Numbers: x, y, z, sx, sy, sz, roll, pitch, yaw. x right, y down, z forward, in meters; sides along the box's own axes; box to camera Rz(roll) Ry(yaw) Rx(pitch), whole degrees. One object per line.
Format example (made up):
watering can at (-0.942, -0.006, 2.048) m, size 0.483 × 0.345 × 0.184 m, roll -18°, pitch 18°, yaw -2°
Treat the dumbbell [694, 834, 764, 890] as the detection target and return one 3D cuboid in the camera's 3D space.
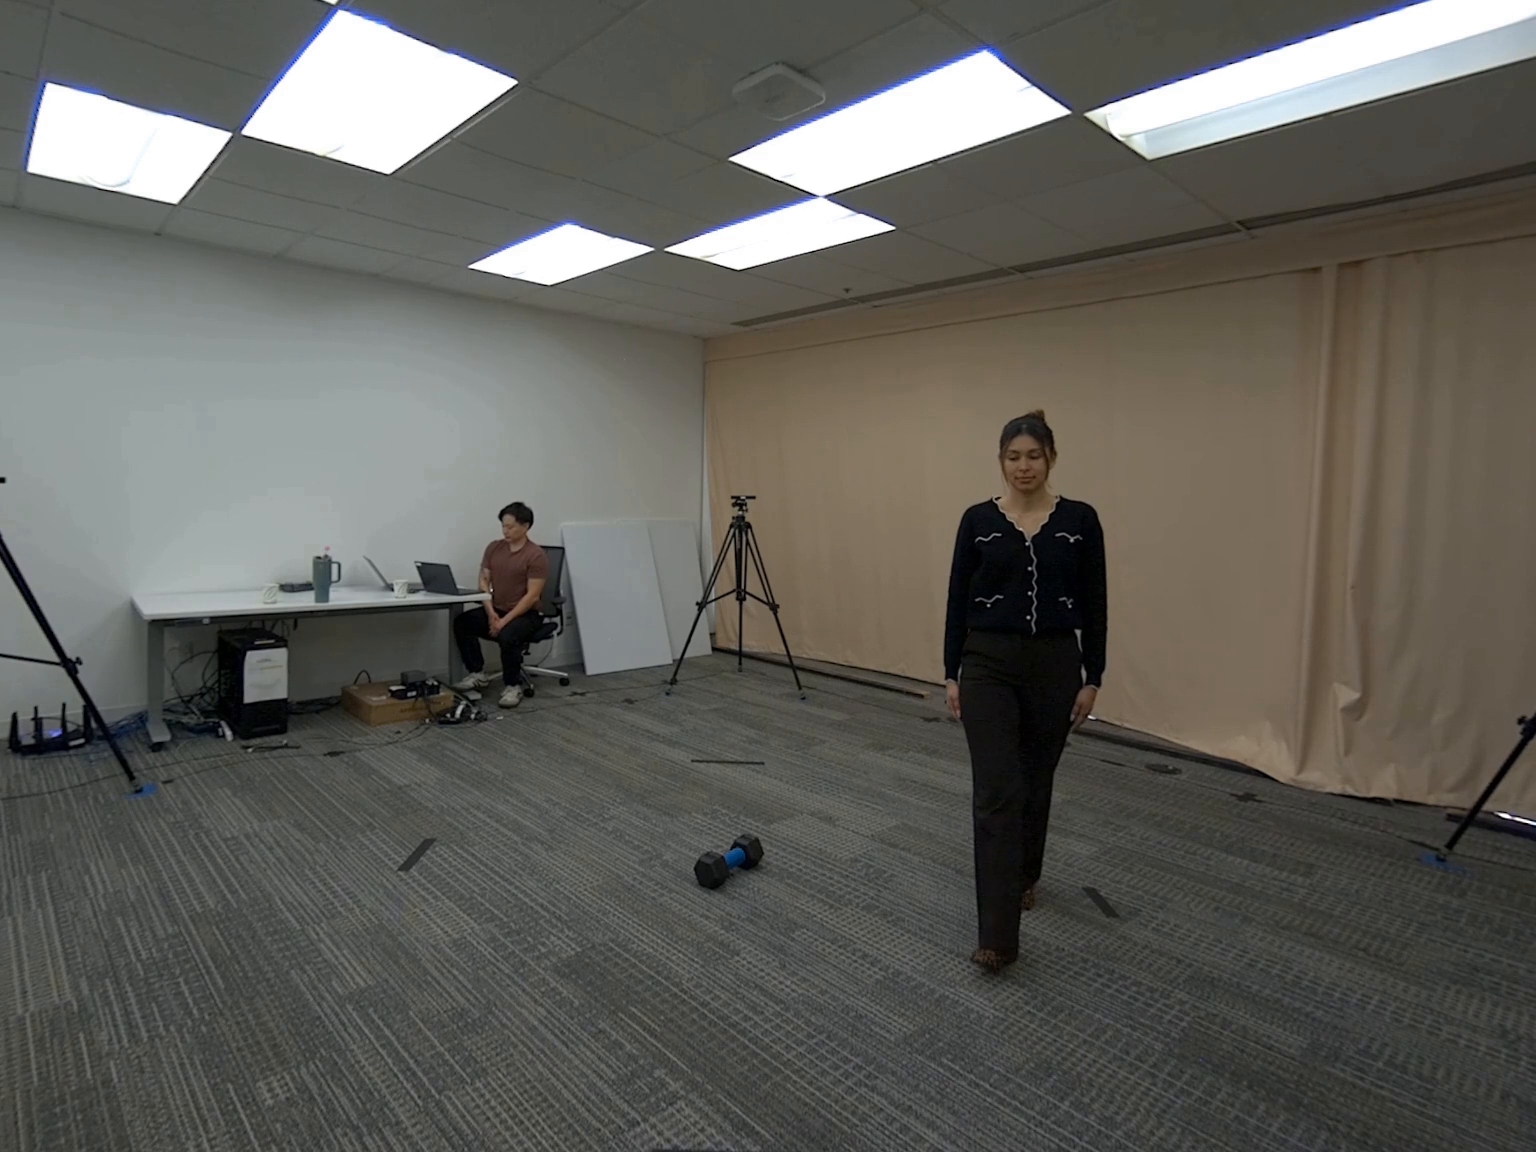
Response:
dumbbell at (-0.153, 1.048, 3.101) m, size 0.109 × 0.124 × 0.287 m, roll -31°, pitch -15°, yaw 34°
